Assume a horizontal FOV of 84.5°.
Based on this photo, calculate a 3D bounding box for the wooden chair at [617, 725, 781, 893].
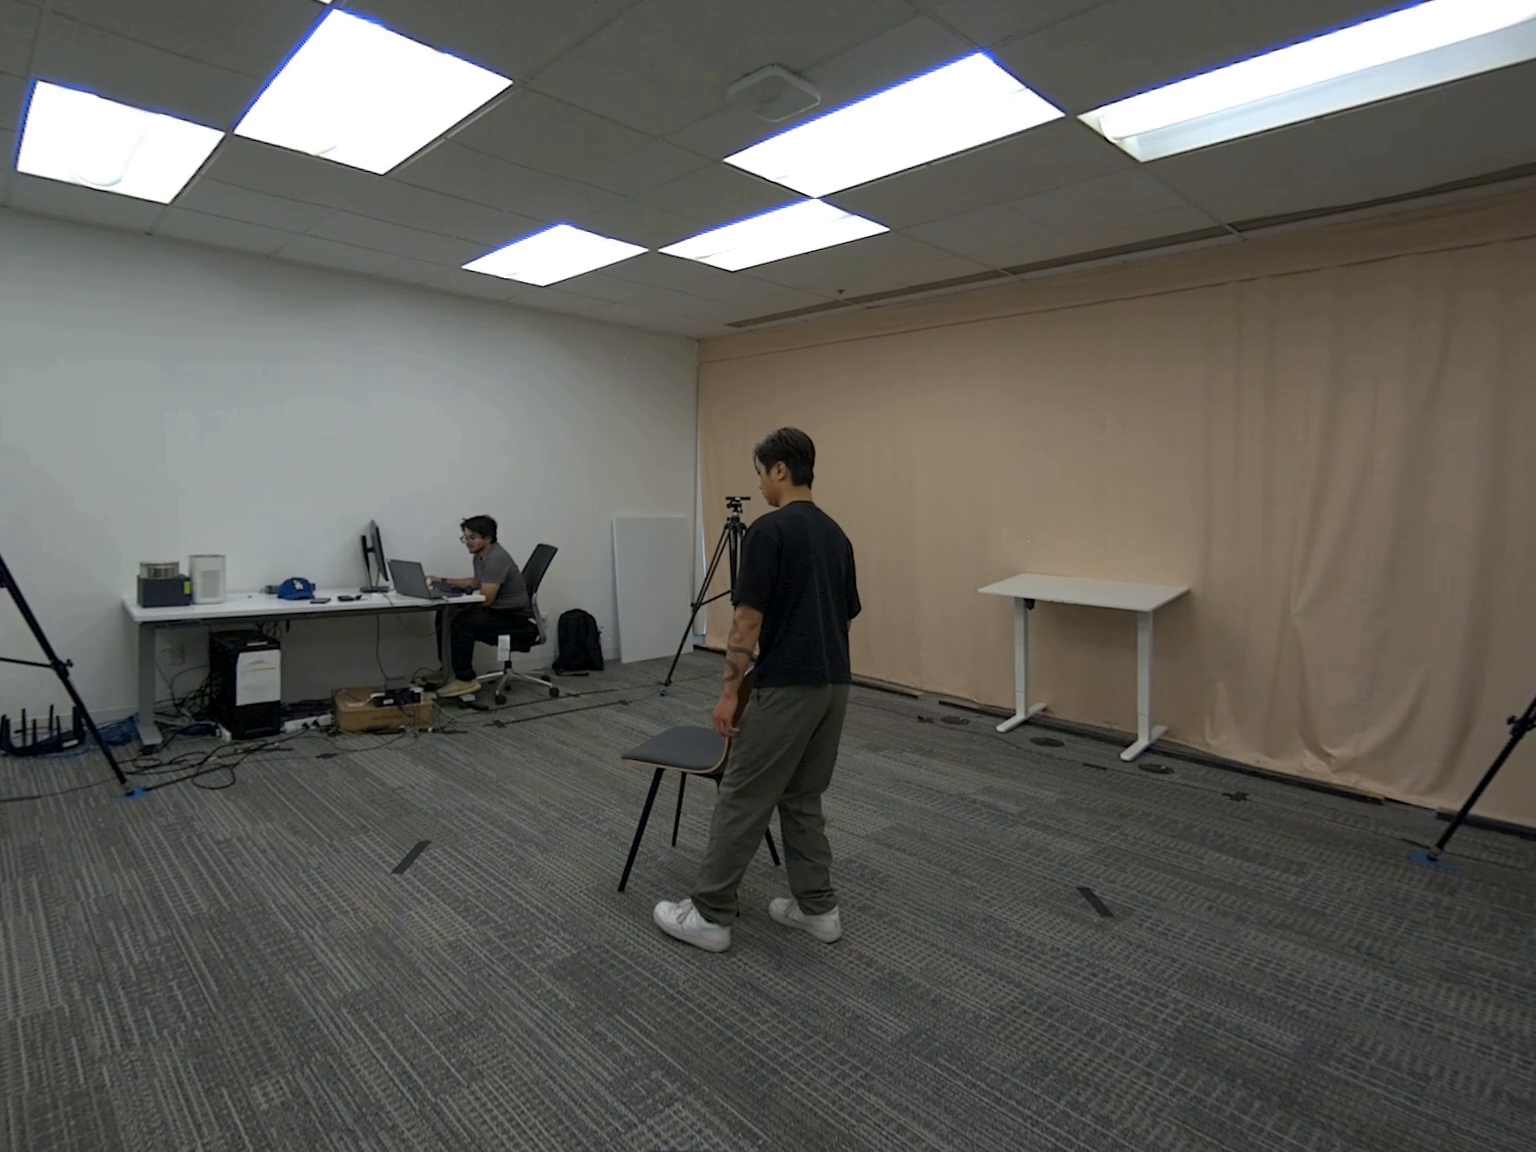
[{"bbox_3d":[-0.243,0.681,3.055,0.532,0.874,0.471,7,5,20],"label":"wooden chair"}]
